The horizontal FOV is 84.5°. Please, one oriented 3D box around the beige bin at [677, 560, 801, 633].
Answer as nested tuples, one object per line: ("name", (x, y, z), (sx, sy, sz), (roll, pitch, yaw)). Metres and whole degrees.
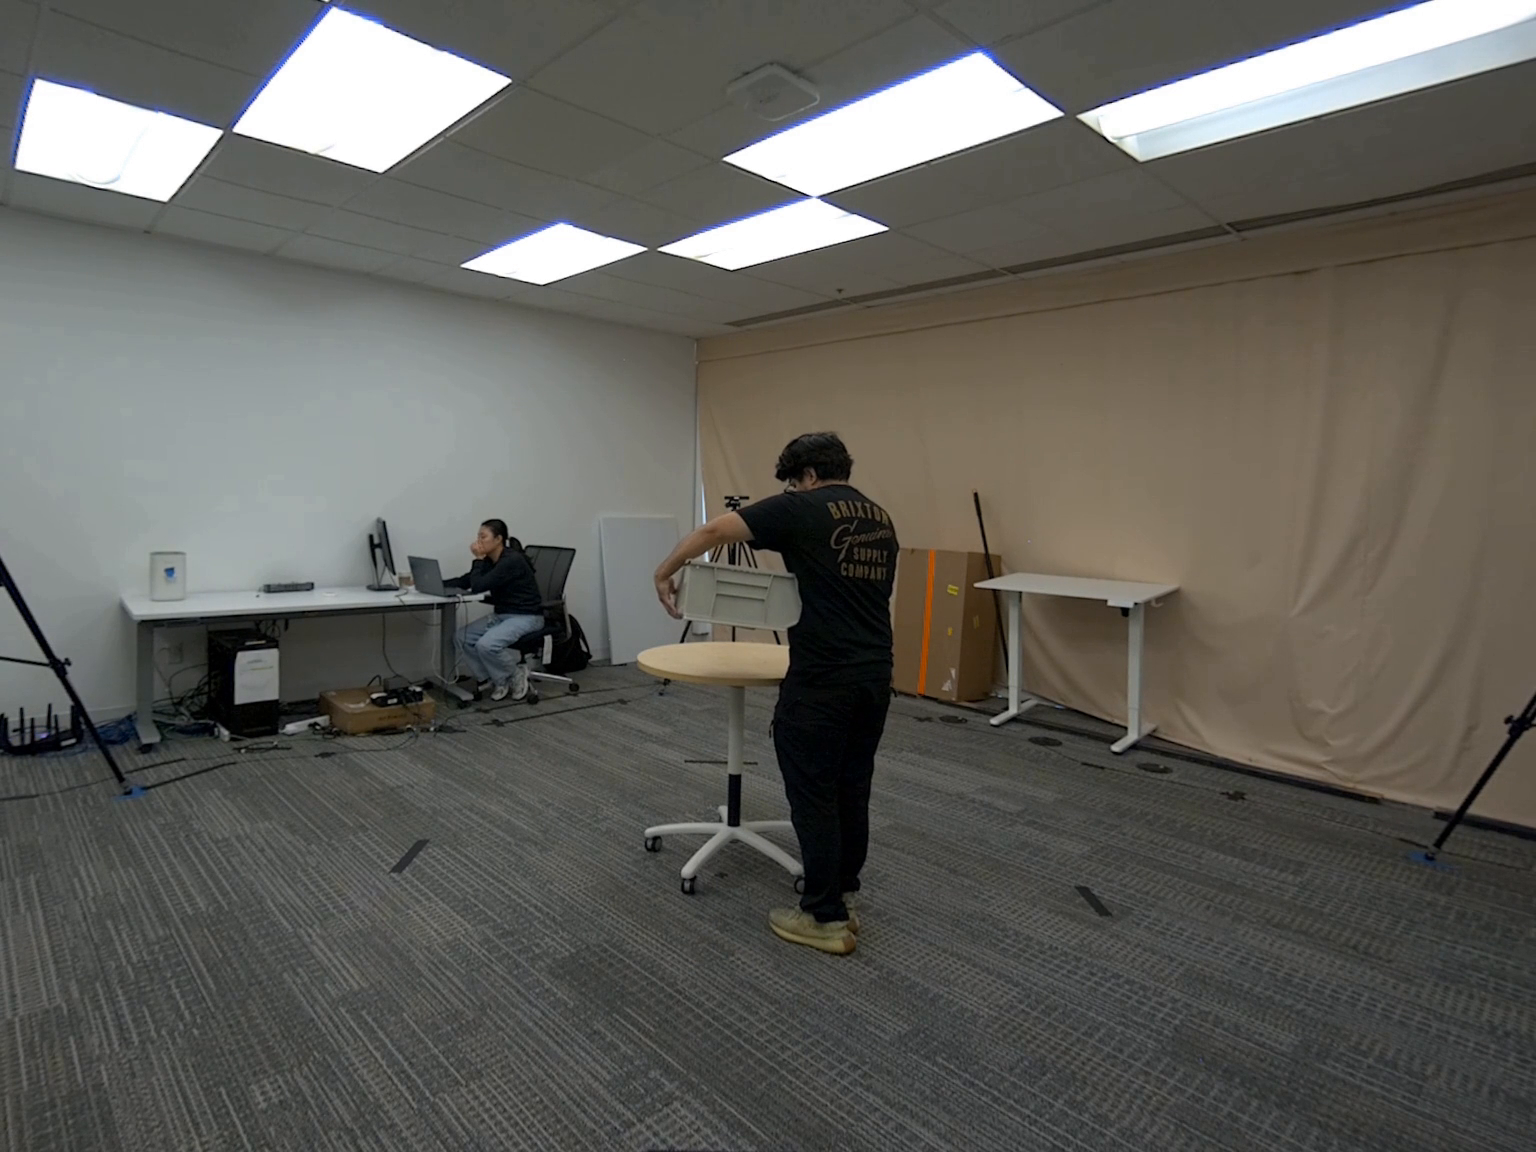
("beige bin", (-0.119, 0.071, 2.734), (0.372, 0.189, 0.427), (9, -2, -15))
